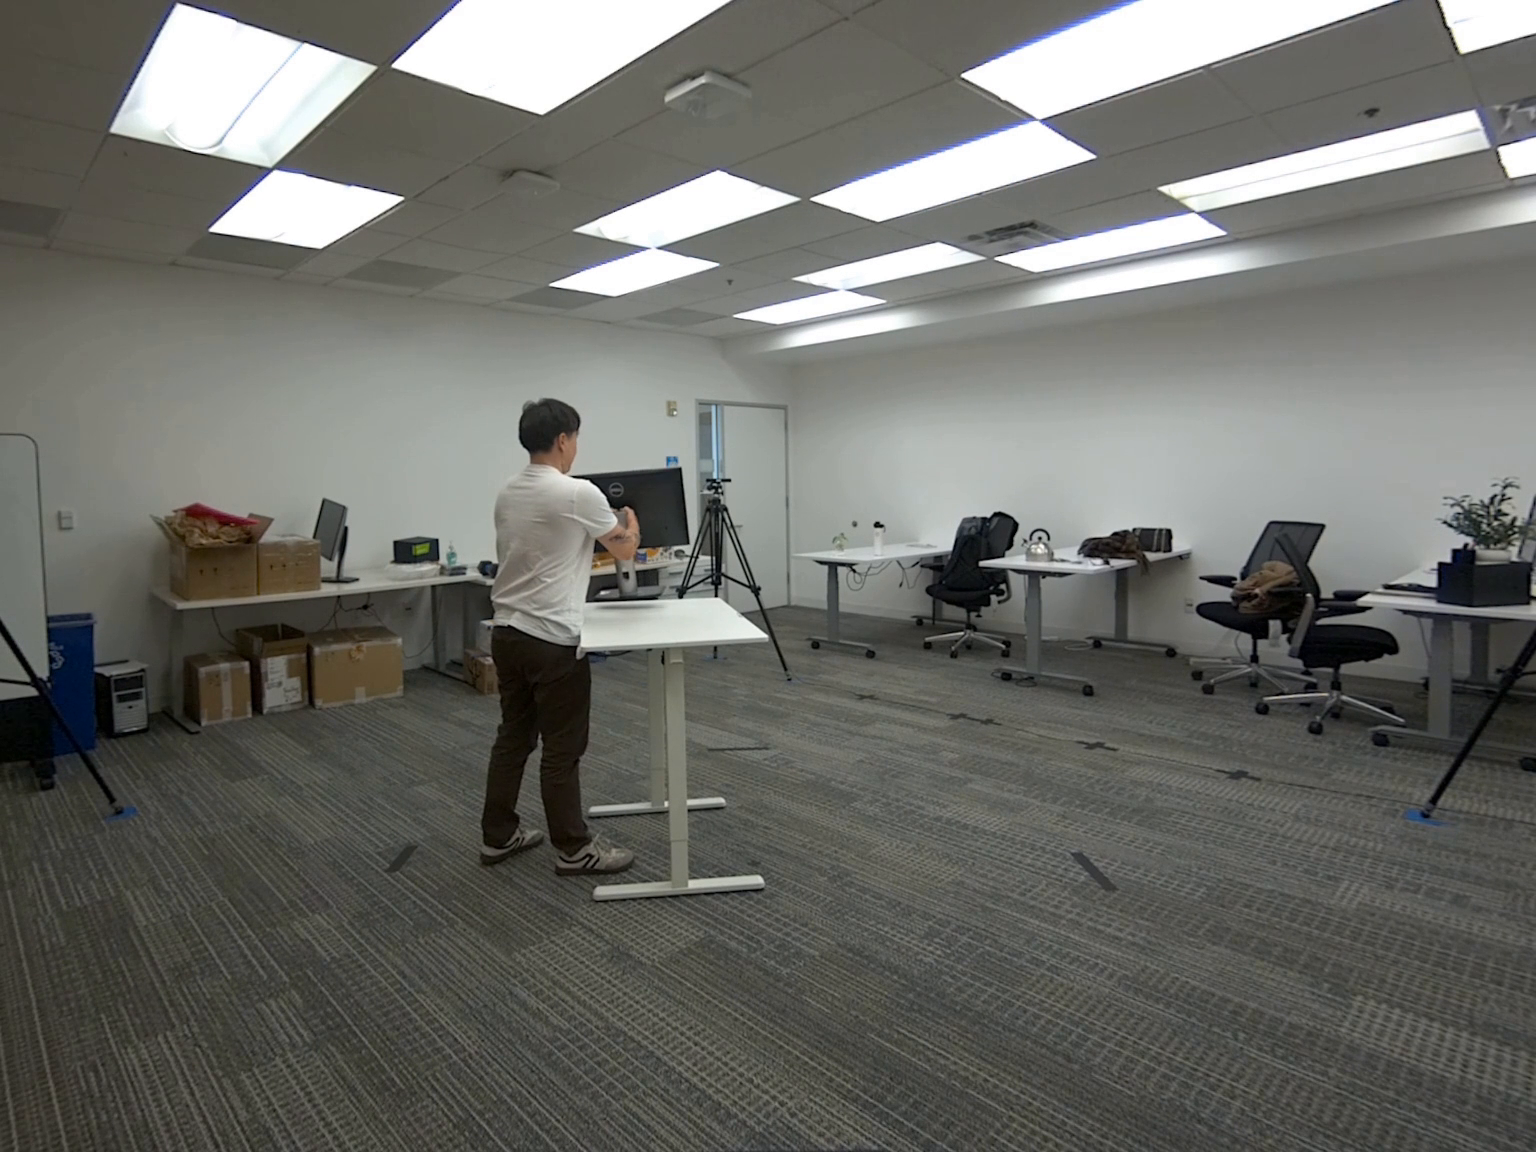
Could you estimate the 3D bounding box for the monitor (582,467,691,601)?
[{"bbox_3d":[-0.593,-0.160,3.472,0.538,0.516,0.190,-6,12,-2],"label":"monitor"}]
